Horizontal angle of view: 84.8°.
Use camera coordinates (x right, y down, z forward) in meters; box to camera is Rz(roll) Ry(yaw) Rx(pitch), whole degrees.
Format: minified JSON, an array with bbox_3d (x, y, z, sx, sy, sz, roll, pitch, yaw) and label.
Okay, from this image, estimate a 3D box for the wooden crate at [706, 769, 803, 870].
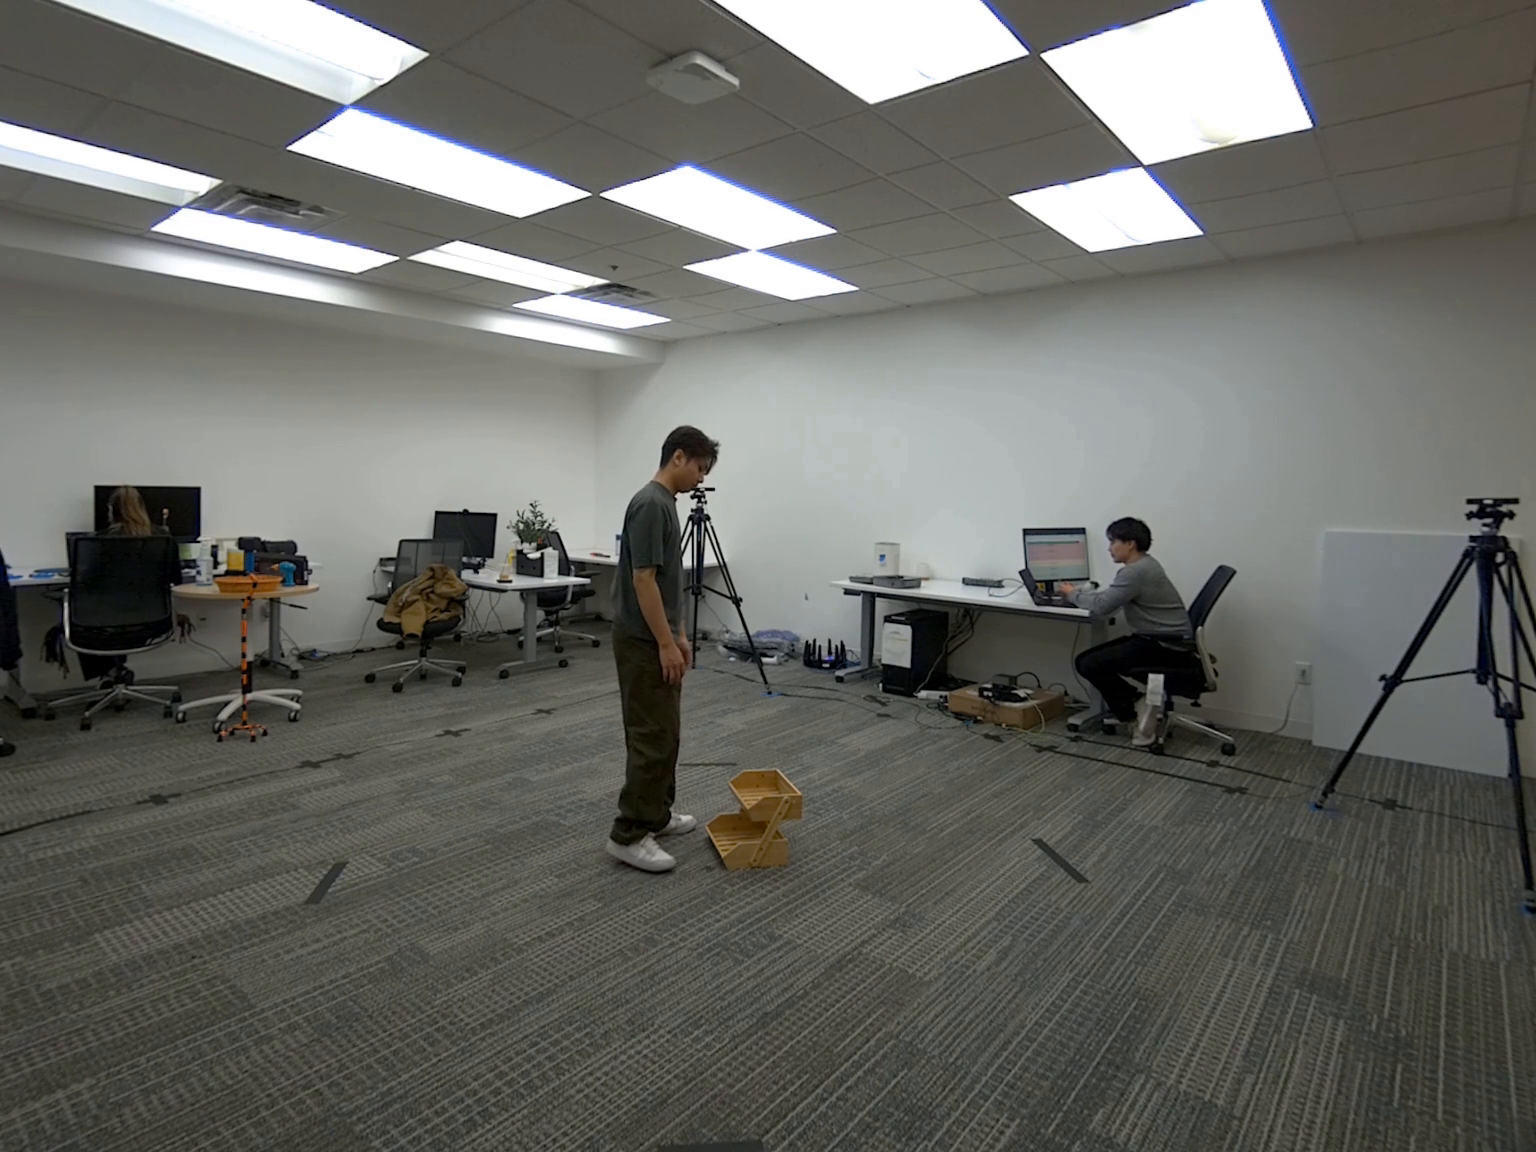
[{"bbox_3d":[-0.069,0.928,3.274,0.297,0.272,0.330,2,4,-15],"label":"wooden crate"}]
